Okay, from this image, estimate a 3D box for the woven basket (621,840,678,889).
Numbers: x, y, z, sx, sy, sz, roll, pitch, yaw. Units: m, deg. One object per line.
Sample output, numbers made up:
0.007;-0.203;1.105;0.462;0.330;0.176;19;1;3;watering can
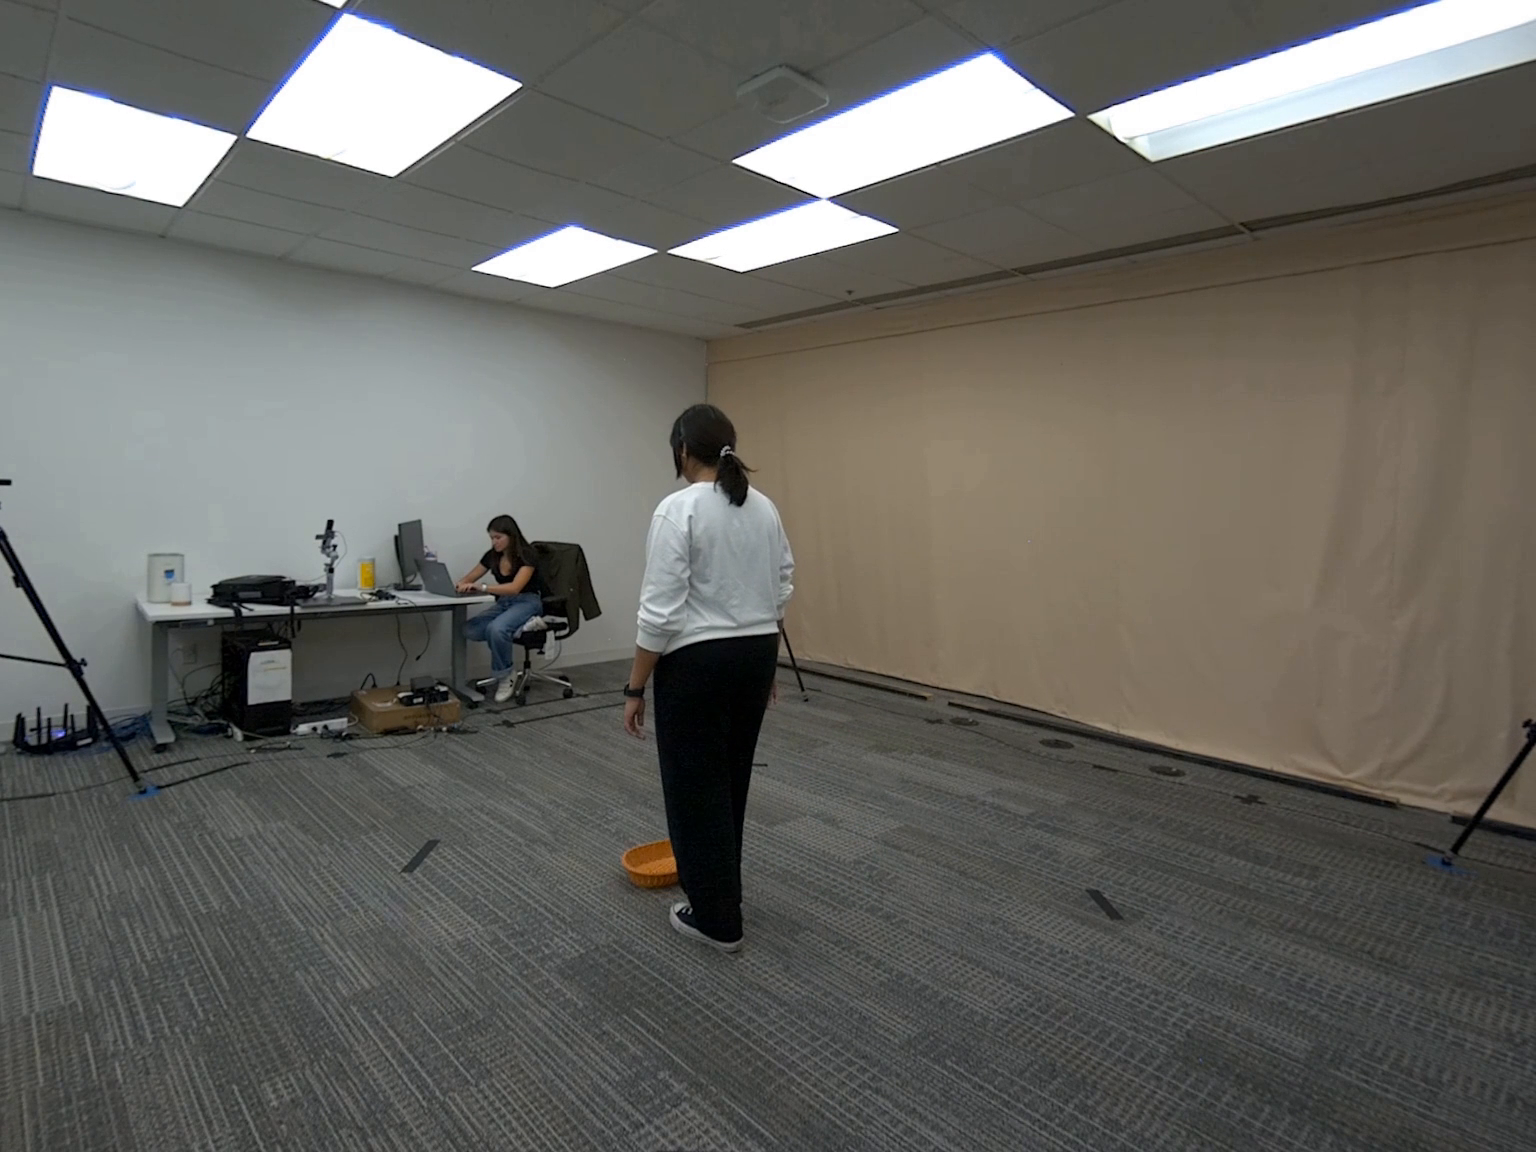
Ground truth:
-0.378;1.061;3.106;0.343;0.073;0.259;-3;8;-33;woven basket
